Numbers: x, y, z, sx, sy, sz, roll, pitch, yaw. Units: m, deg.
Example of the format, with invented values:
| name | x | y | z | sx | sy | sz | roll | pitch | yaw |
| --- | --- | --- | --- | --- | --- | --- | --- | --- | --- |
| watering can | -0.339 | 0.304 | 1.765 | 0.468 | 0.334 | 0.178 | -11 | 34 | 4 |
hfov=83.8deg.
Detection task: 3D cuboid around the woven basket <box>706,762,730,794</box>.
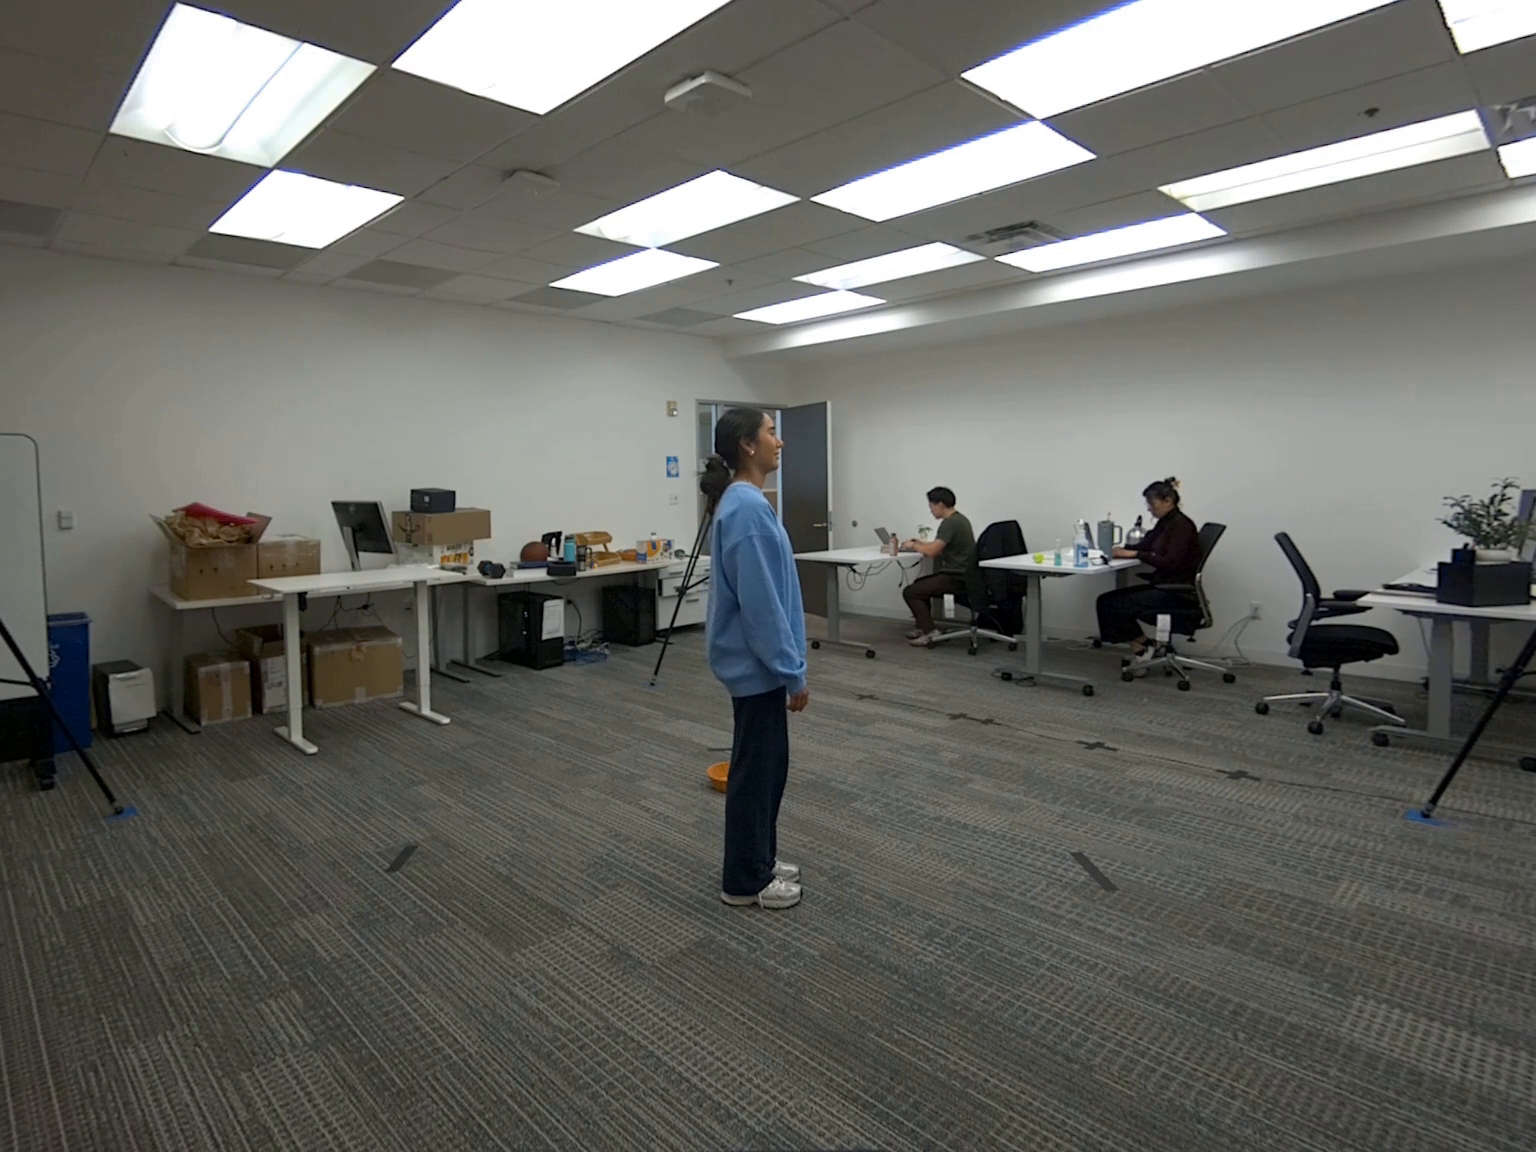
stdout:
| name | x | y | z | sx | sy | sz | roll | pitch | yaw |
| --- | --- | --- | --- | --- | --- | --- | --- | --- | --- |
| woven basket | -0.106 | 0.919 | 3.906 | 0.344 | 0.073 | 0.258 | -3 | 7 | -20 |
